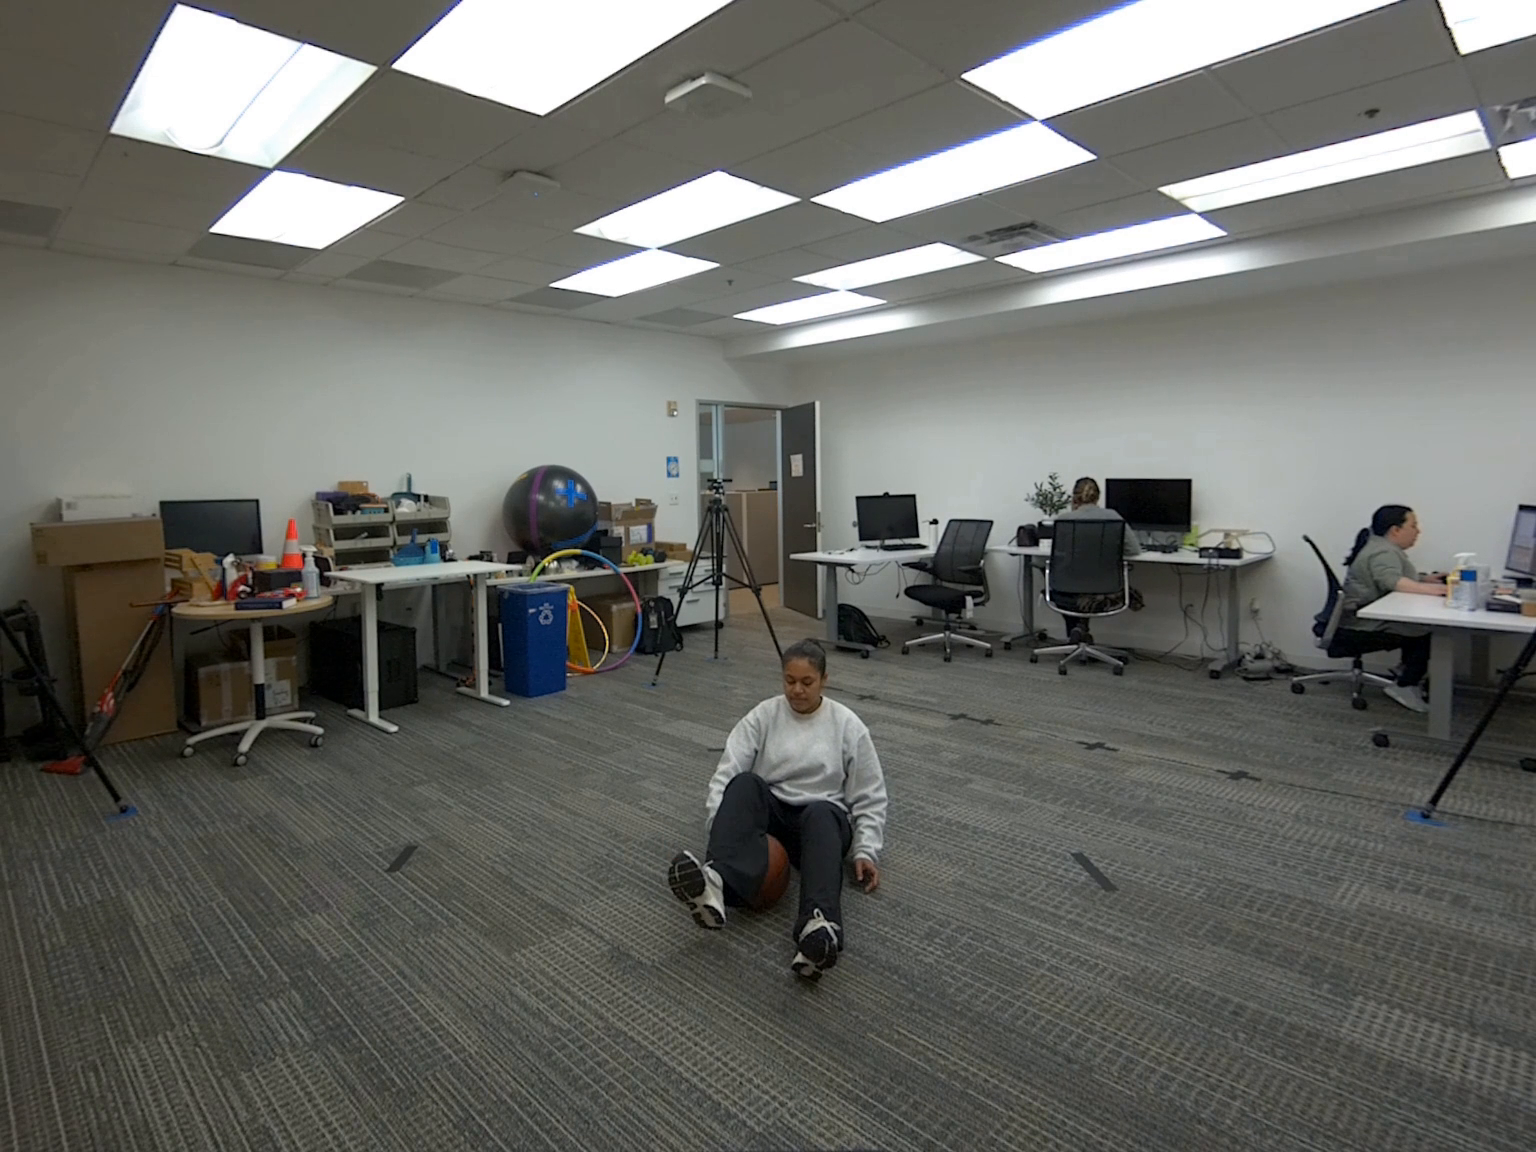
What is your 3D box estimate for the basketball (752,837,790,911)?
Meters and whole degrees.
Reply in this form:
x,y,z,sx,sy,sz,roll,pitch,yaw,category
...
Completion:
x,y,z,sx,sy,sz,roll,pitch,yaw,category
-0.048,0.967,2.806,0.236,0.235,0.237,-1,5,-2,basketball
